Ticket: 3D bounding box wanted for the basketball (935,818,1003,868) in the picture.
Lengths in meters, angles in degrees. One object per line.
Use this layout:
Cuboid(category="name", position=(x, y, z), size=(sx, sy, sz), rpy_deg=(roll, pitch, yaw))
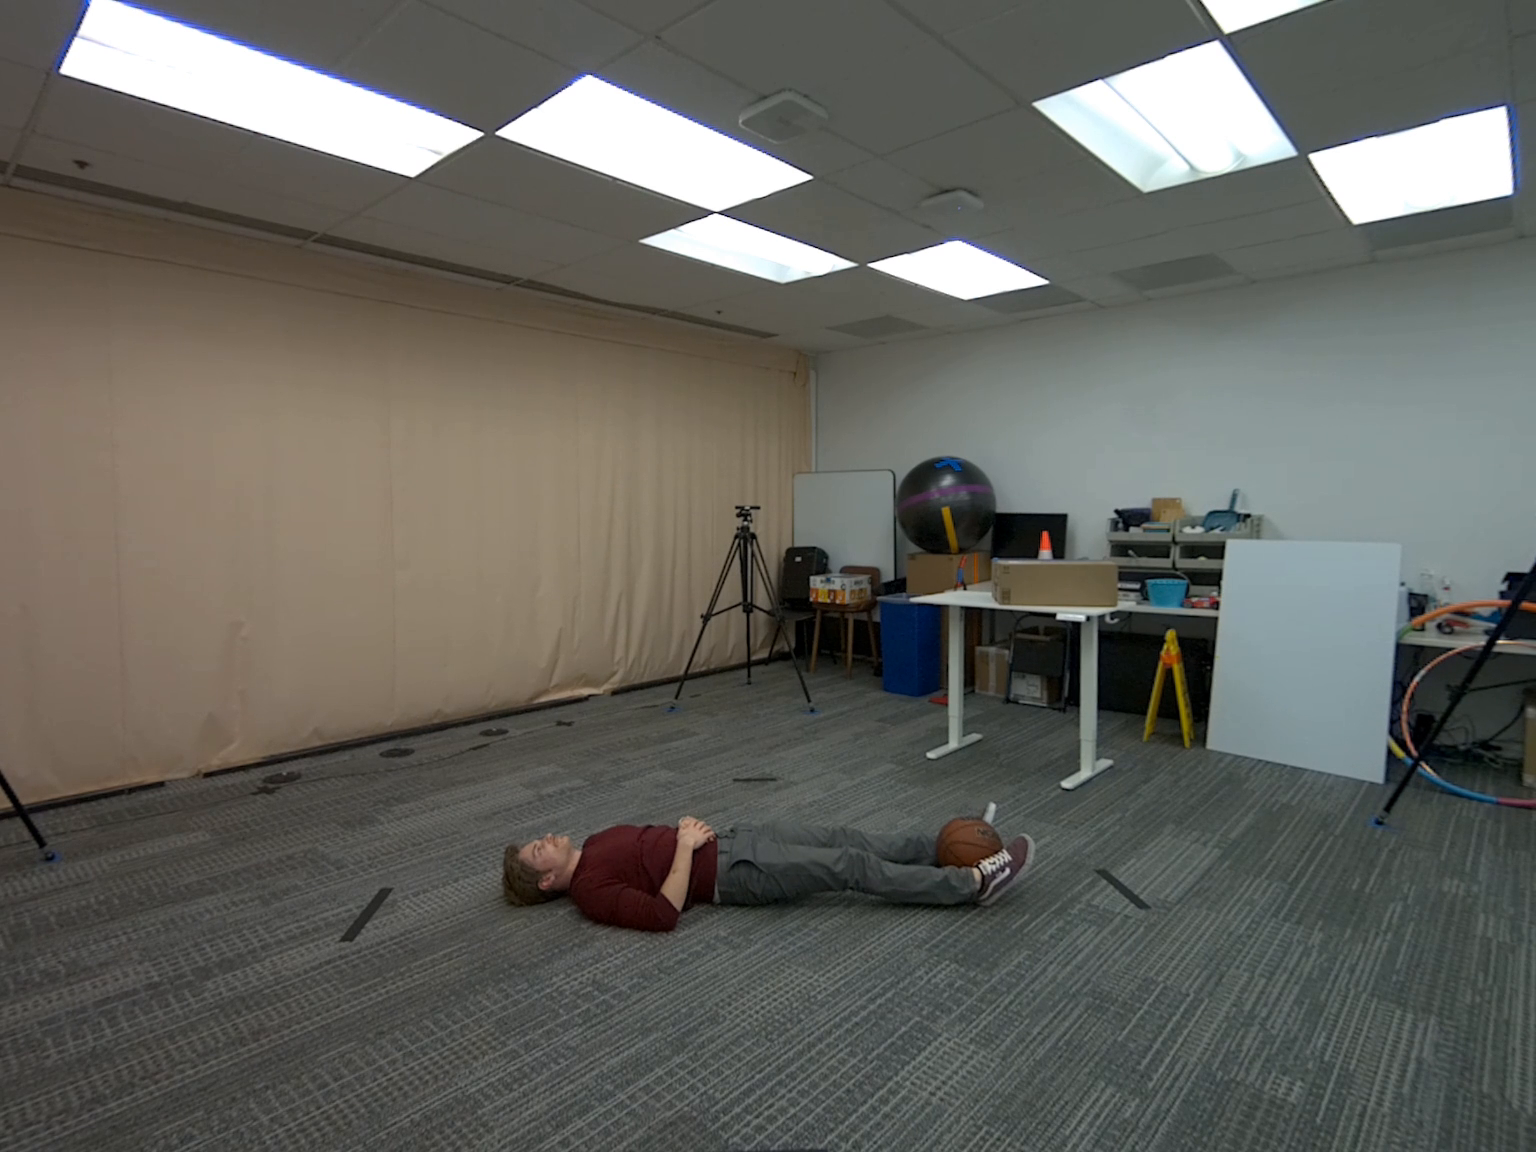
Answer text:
Cuboid(category="basketball", position=(0.743, 0.999, 3.069), size=(0.235, 0.235, 0.237), rpy_deg=(3, 5, -2))
